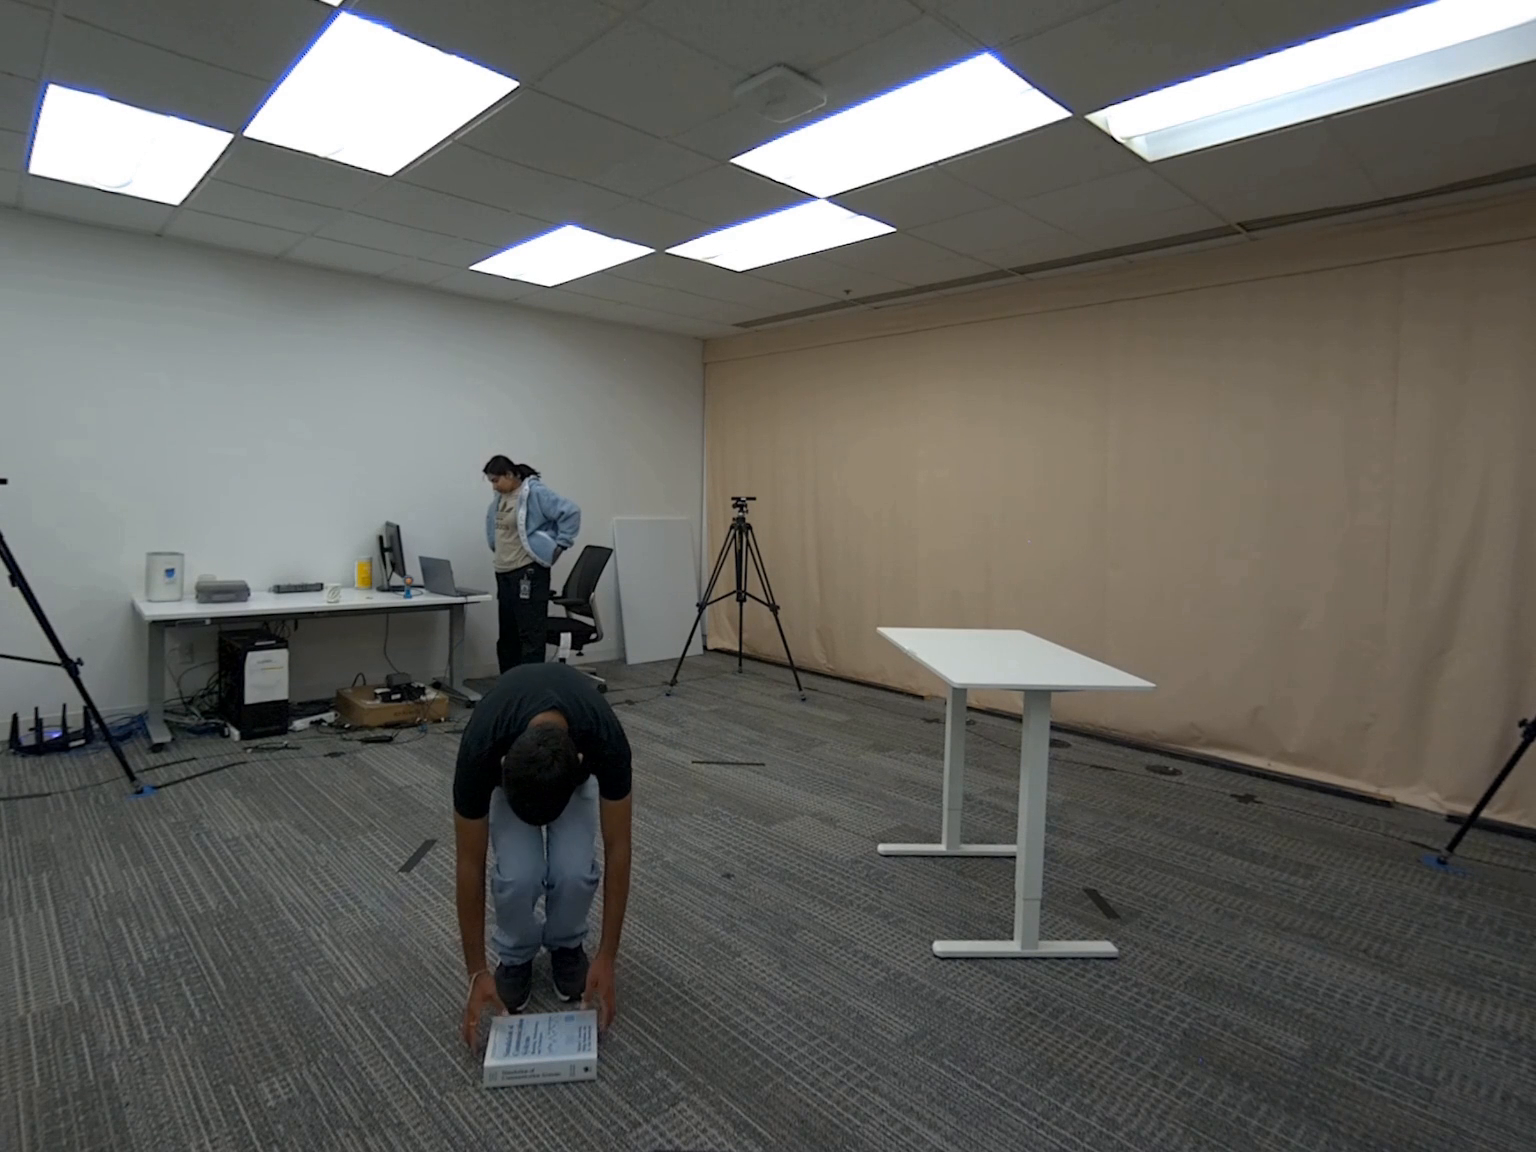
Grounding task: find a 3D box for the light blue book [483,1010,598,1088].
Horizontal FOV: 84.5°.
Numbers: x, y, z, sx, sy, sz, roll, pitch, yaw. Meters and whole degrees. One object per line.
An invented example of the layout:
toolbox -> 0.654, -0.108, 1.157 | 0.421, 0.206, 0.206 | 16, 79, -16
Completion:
light blue book -> -0.567, 1.169, 2.061 | 0.259, 0.059, 0.193 | 1, 5, -11
